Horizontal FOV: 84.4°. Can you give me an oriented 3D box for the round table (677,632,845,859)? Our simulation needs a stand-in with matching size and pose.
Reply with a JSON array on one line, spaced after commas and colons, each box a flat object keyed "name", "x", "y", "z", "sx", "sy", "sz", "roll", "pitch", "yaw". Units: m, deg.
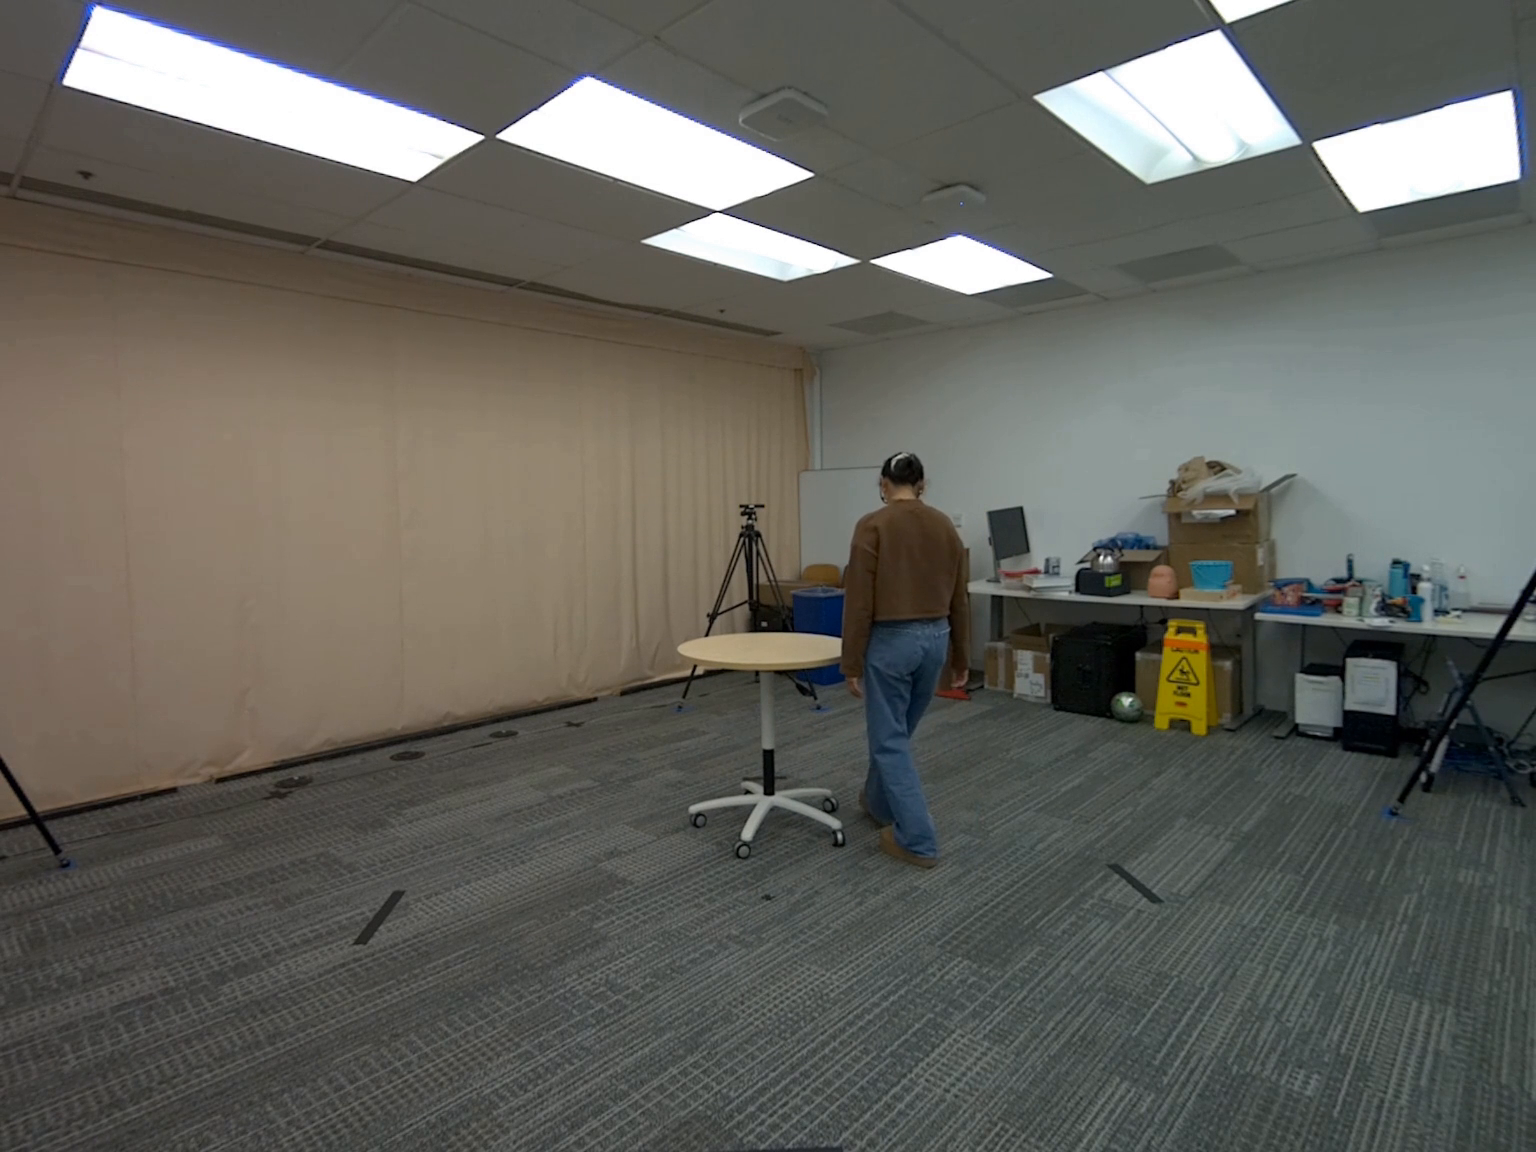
[{"name": "round table", "x": 0.009, "y": 0.695, "z": 3.622, "sx": 0.763, "sy": 0.792, "sz": 0.766, "roll": -1, "pitch": 4, "yaw": -2}]
